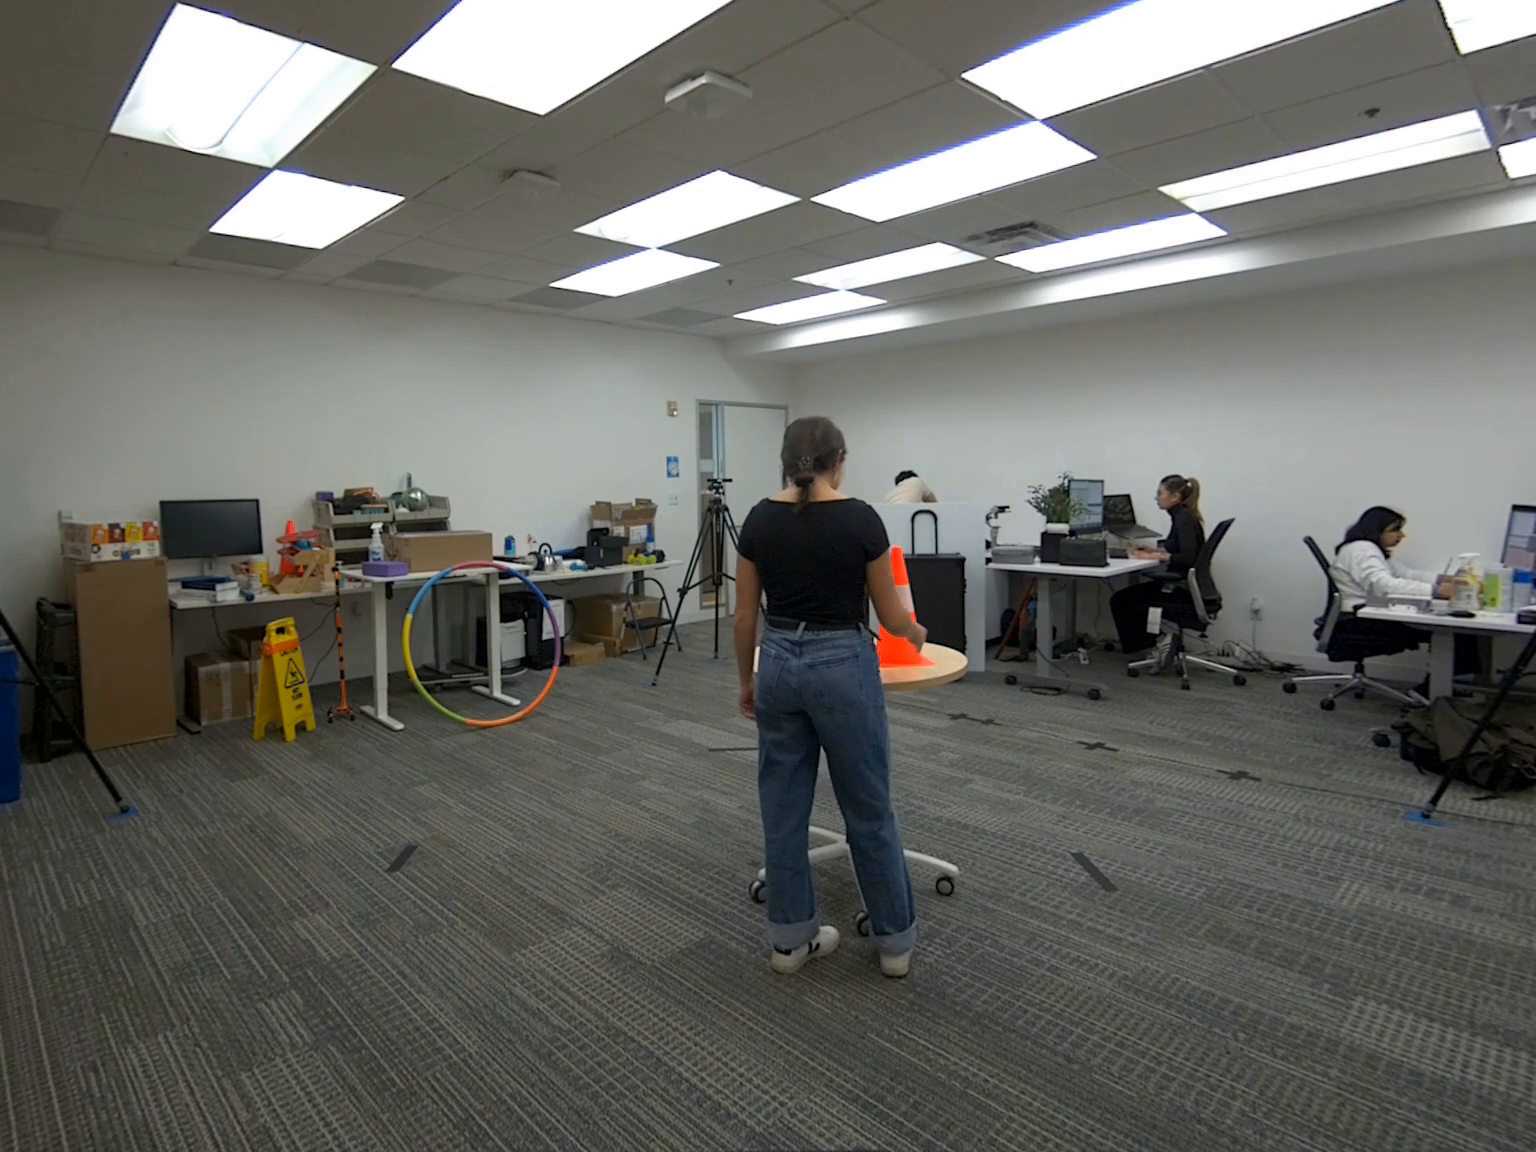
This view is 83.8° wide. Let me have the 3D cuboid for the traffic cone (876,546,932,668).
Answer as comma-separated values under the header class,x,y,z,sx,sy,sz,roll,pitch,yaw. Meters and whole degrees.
class,x,y,z,sx,sy,sz,roll,pitch,yaw
traffic cone,0.434,0.097,2.842,0.204,0.382,0.205,-3,4,-8
